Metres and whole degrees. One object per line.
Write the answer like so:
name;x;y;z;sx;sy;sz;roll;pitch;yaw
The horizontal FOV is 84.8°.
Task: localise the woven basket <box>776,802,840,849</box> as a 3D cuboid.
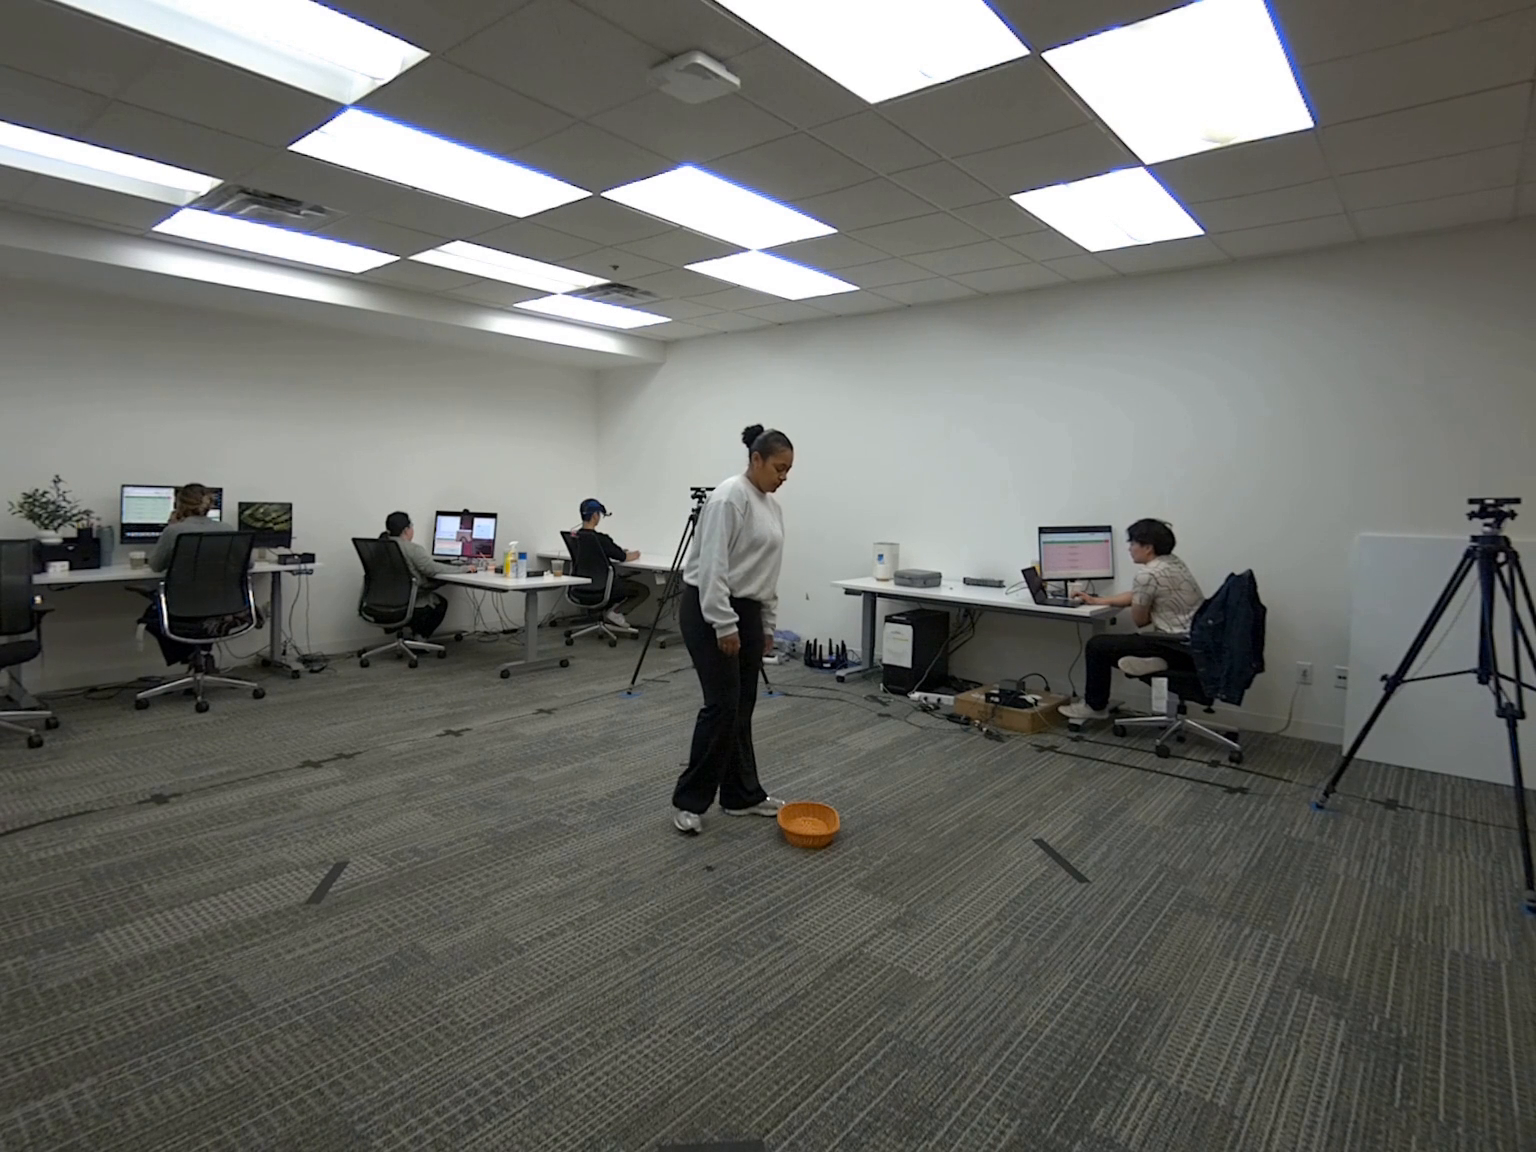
woven basket;0.153;1.002;3.442;0.255;0.073;0.348;1;6;8
